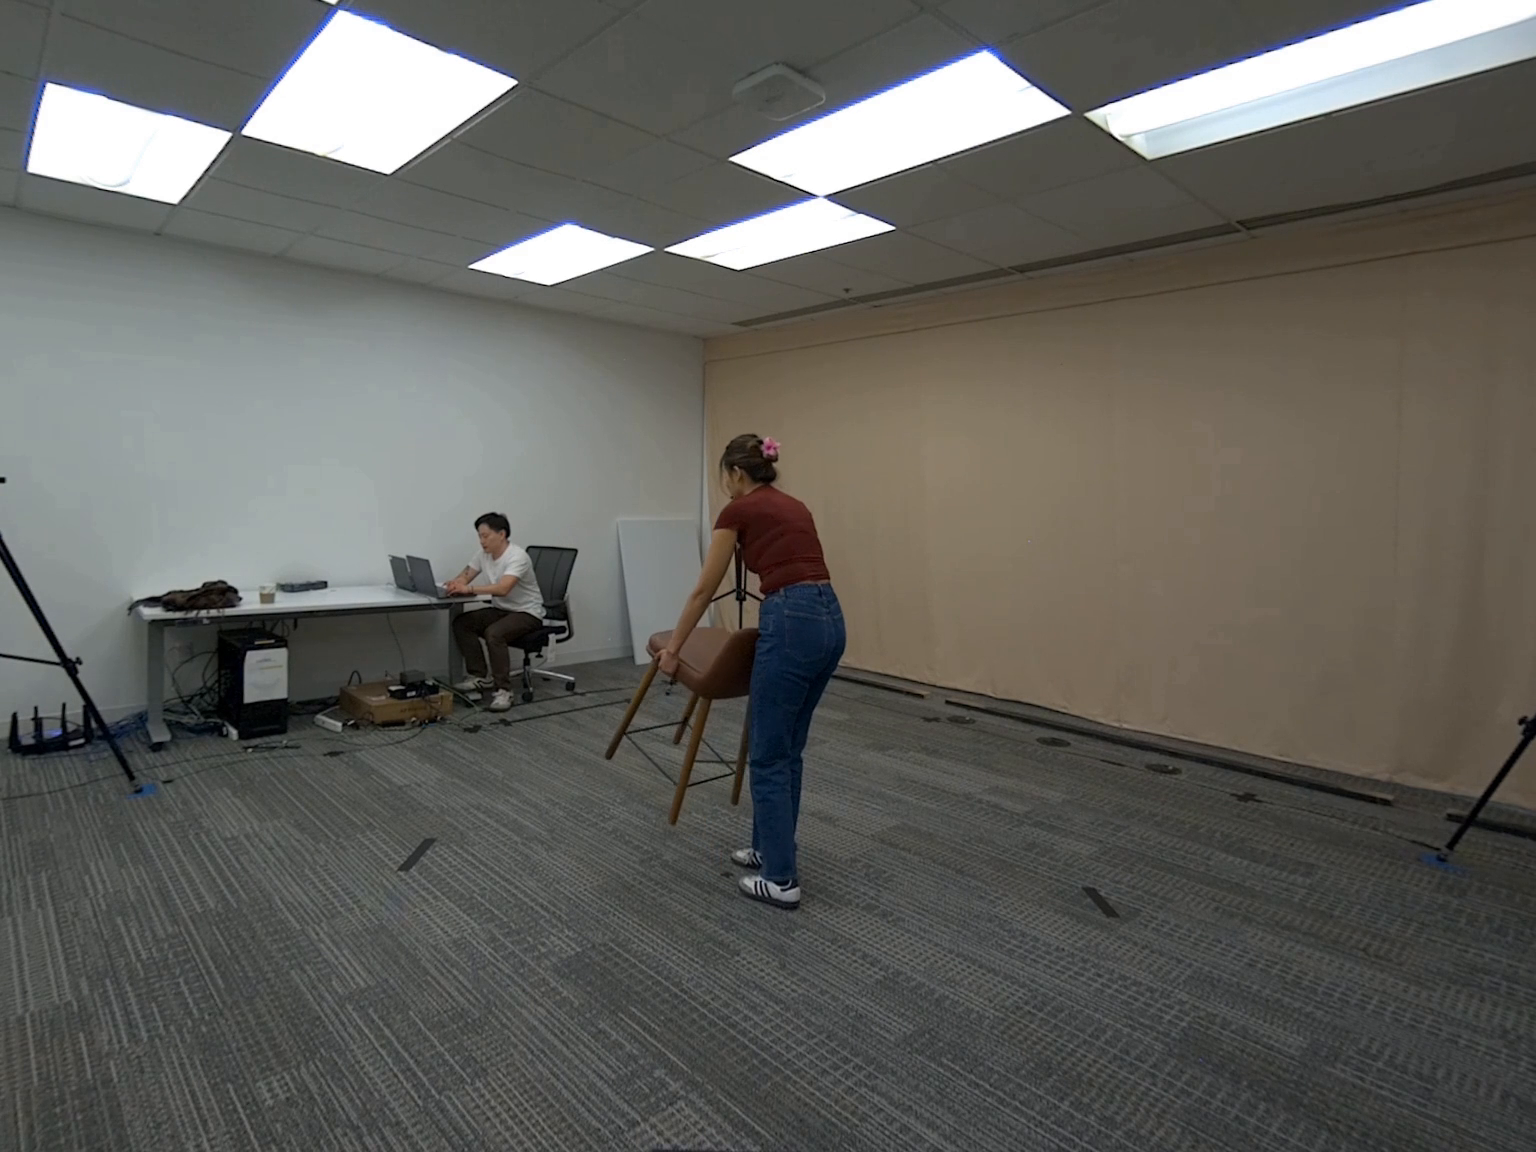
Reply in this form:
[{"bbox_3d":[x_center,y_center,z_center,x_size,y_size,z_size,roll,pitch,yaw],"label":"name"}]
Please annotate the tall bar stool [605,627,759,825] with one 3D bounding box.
[{"bbox_3d":[-0.258,0.475,3.355,0.446,0.883,0.482,0,29,-46],"label":"tall bar stool"}]
